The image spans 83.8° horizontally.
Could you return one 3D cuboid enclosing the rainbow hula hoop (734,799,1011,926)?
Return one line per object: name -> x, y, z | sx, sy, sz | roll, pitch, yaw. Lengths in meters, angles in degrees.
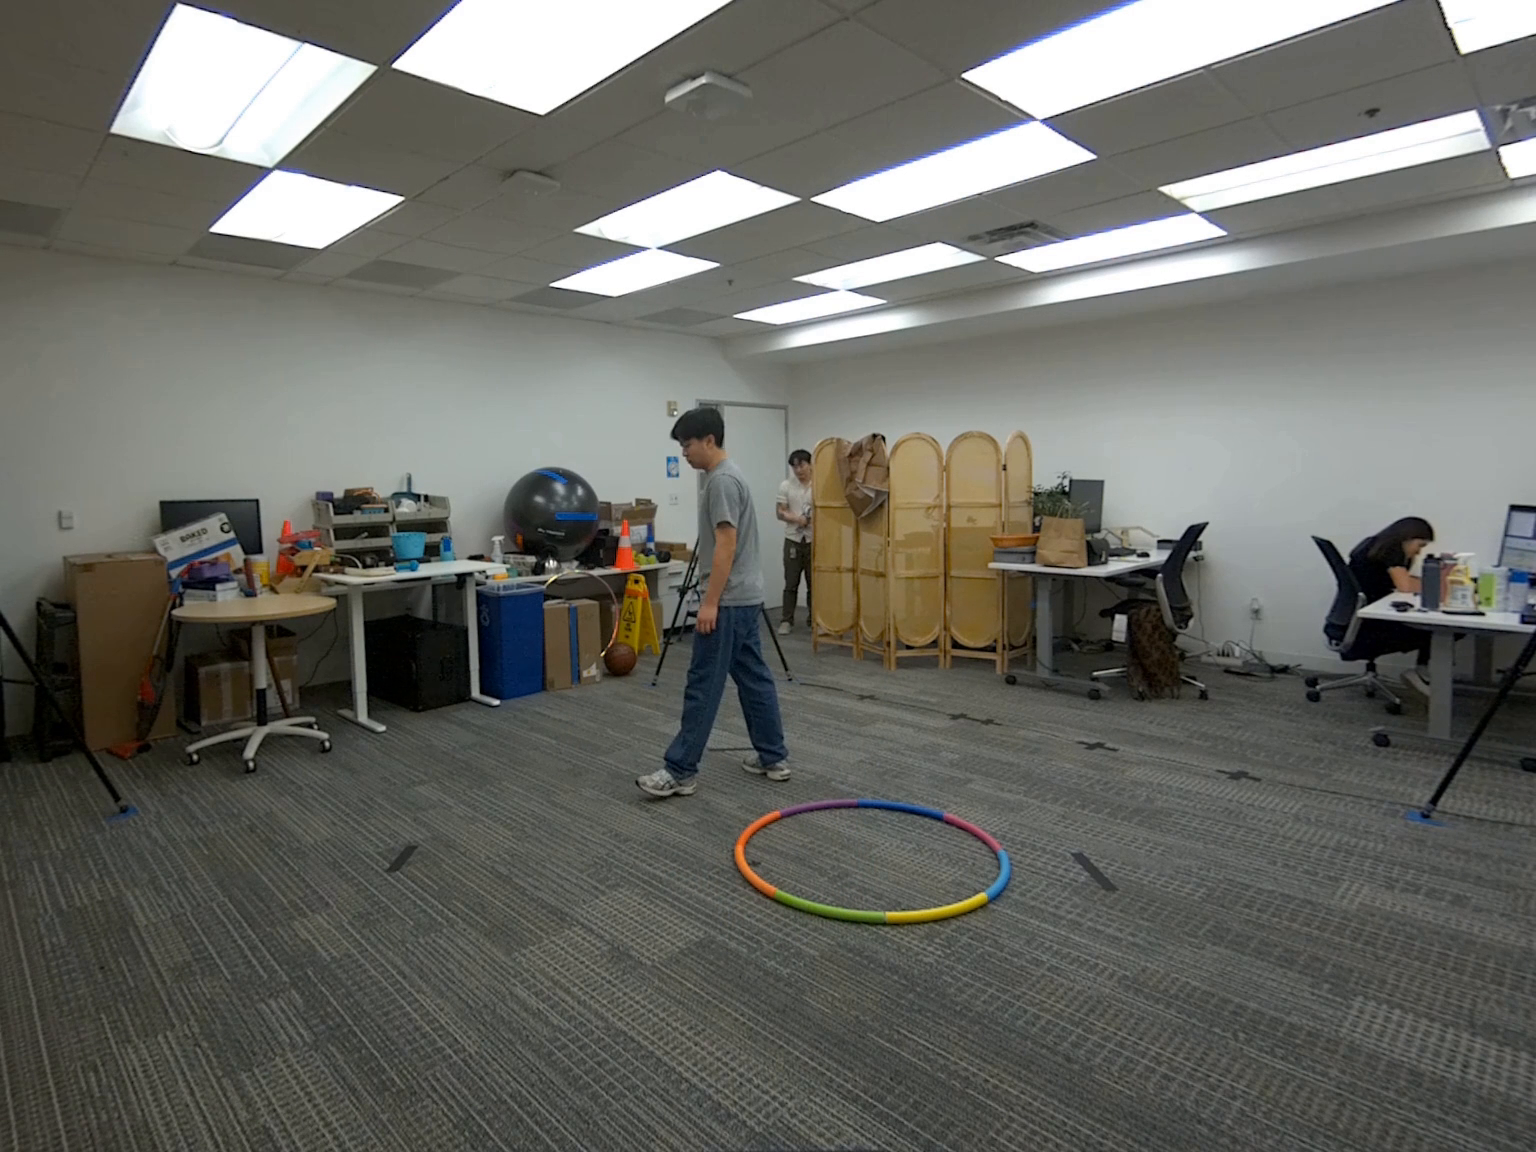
rainbow hula hoop -> 0.366, 1.003, 3.146 | 0.978, 0.035, 0.984 | -1, 6, -2
